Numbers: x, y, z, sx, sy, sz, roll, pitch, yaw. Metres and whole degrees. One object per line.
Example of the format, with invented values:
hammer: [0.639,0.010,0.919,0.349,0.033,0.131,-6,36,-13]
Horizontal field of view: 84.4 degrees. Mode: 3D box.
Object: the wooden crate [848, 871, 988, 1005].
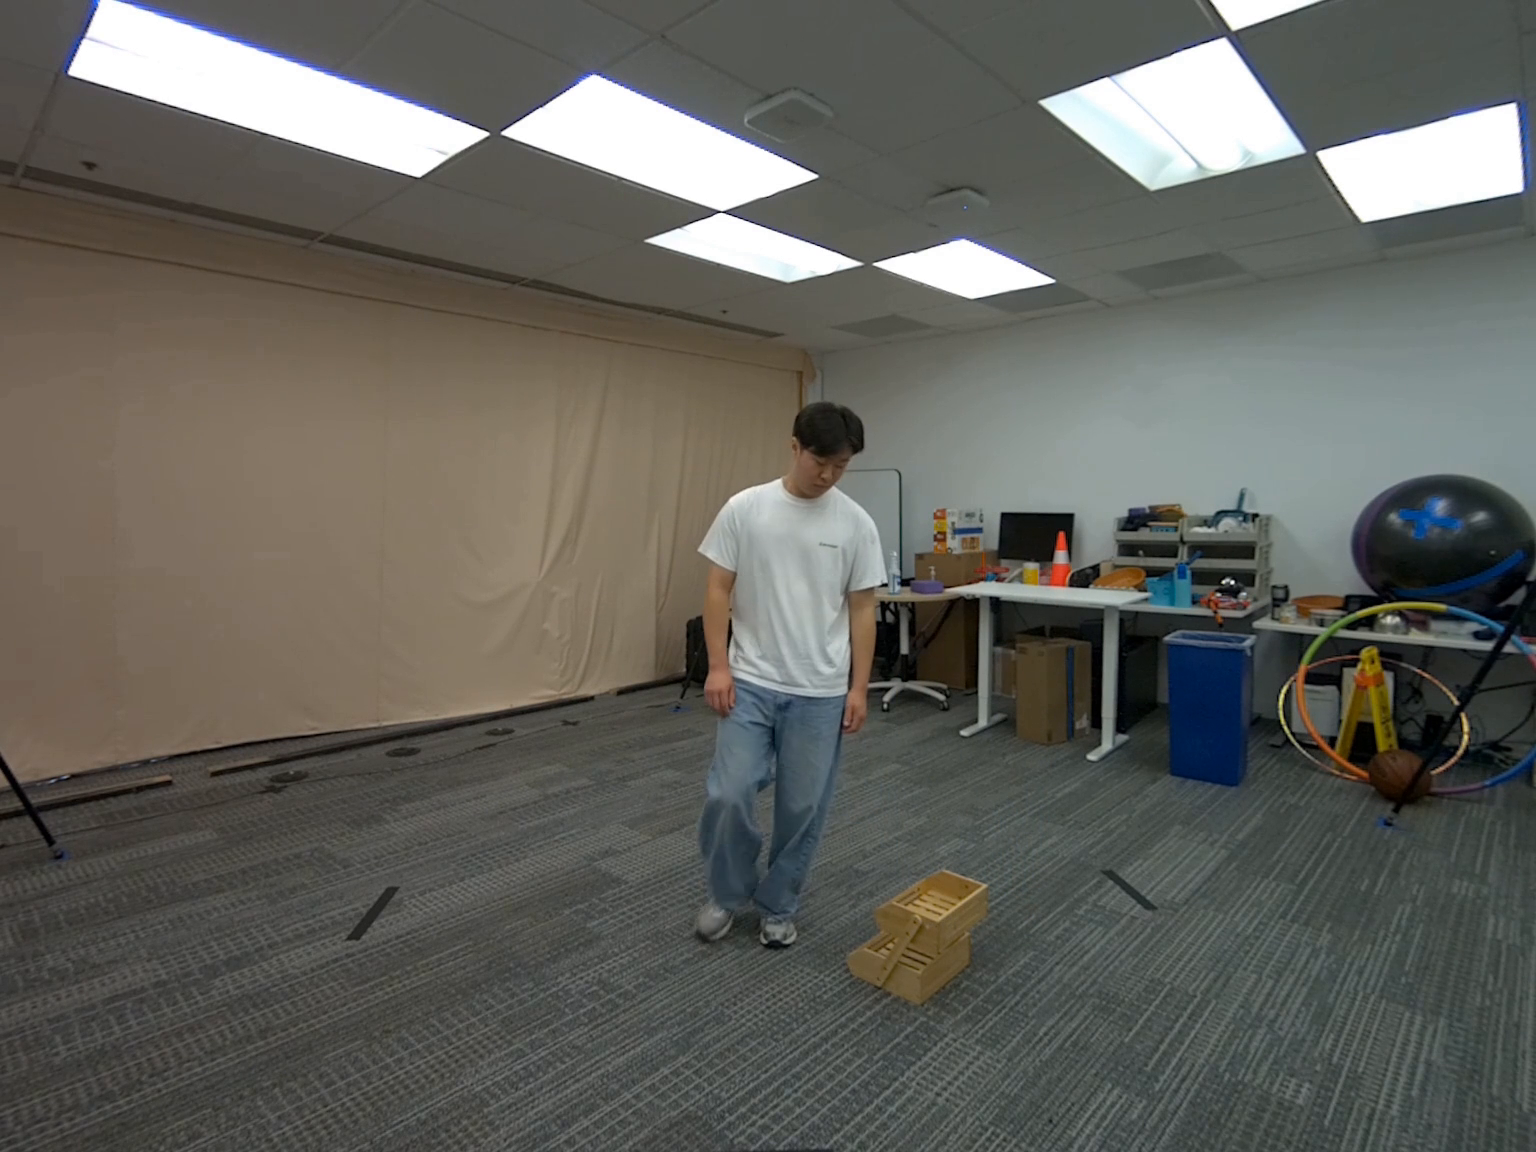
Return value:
wooden crate: [0.450,1.049,2.507,0.312,0.272,0.314,5,6,42]
